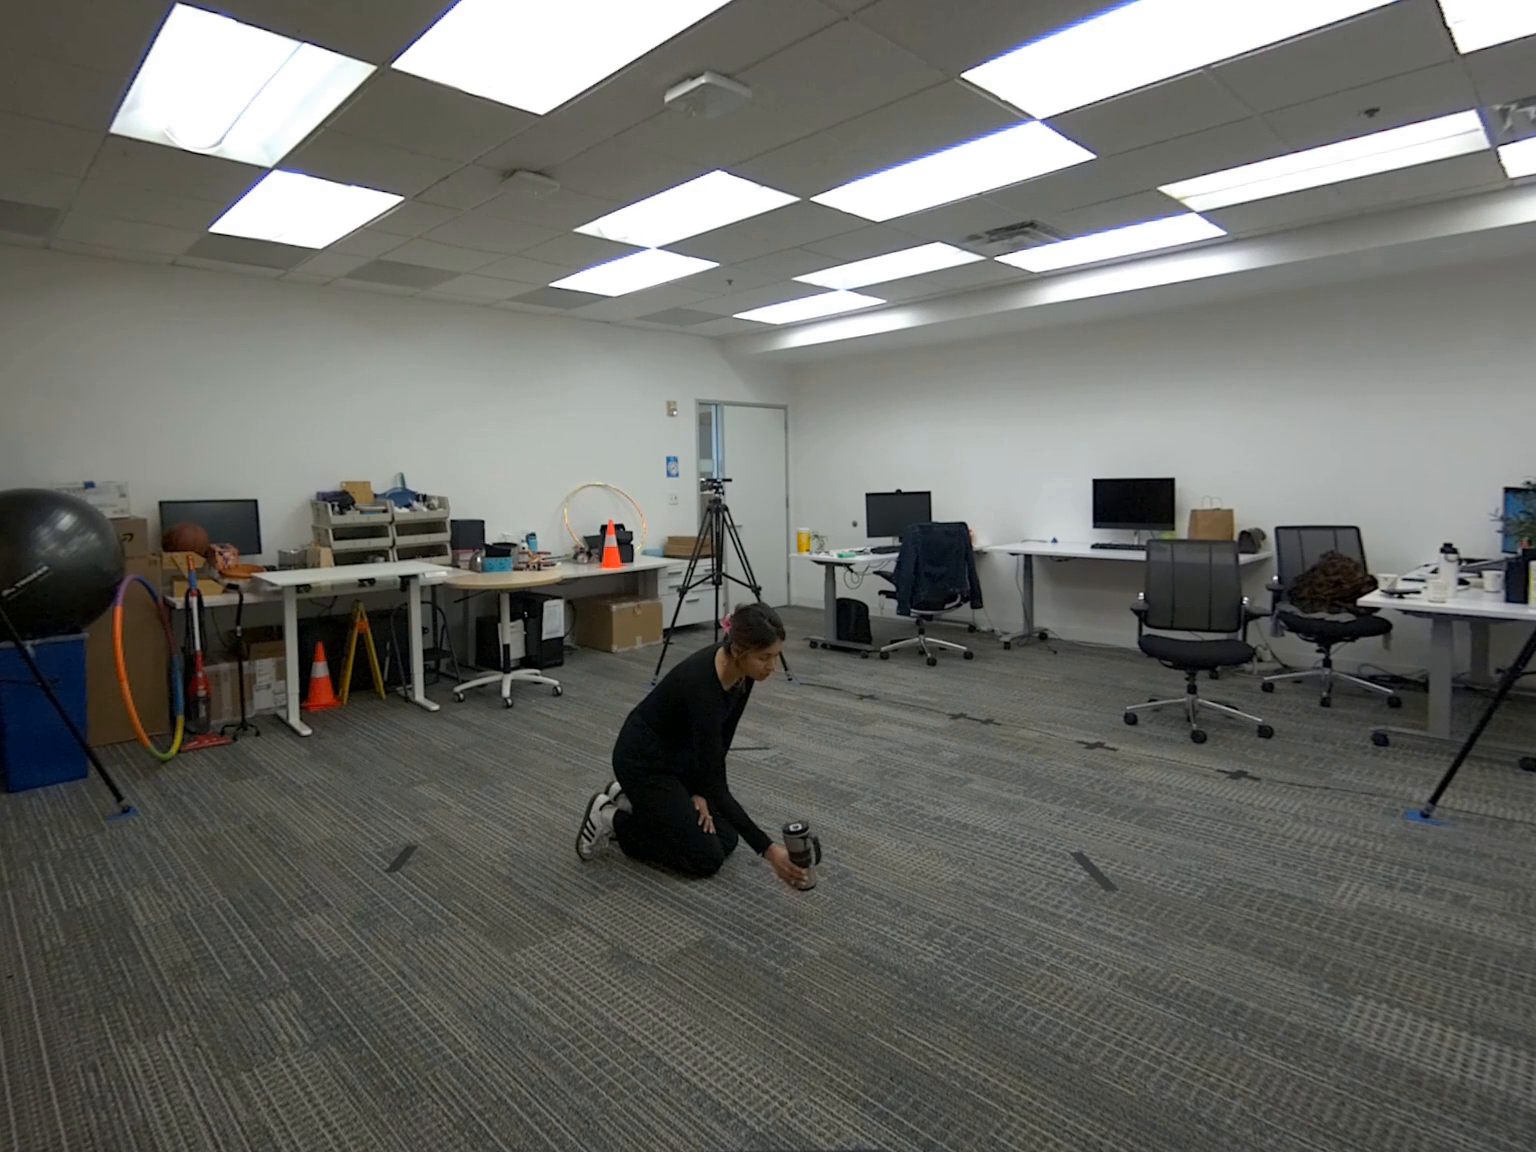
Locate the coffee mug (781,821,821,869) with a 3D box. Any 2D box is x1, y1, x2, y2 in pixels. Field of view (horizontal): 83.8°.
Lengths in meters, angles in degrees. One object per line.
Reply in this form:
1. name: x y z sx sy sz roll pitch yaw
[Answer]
1. coffee mug: 0.117 0.877 2.665 0.087 0.202 0.123 -10 2 -12
